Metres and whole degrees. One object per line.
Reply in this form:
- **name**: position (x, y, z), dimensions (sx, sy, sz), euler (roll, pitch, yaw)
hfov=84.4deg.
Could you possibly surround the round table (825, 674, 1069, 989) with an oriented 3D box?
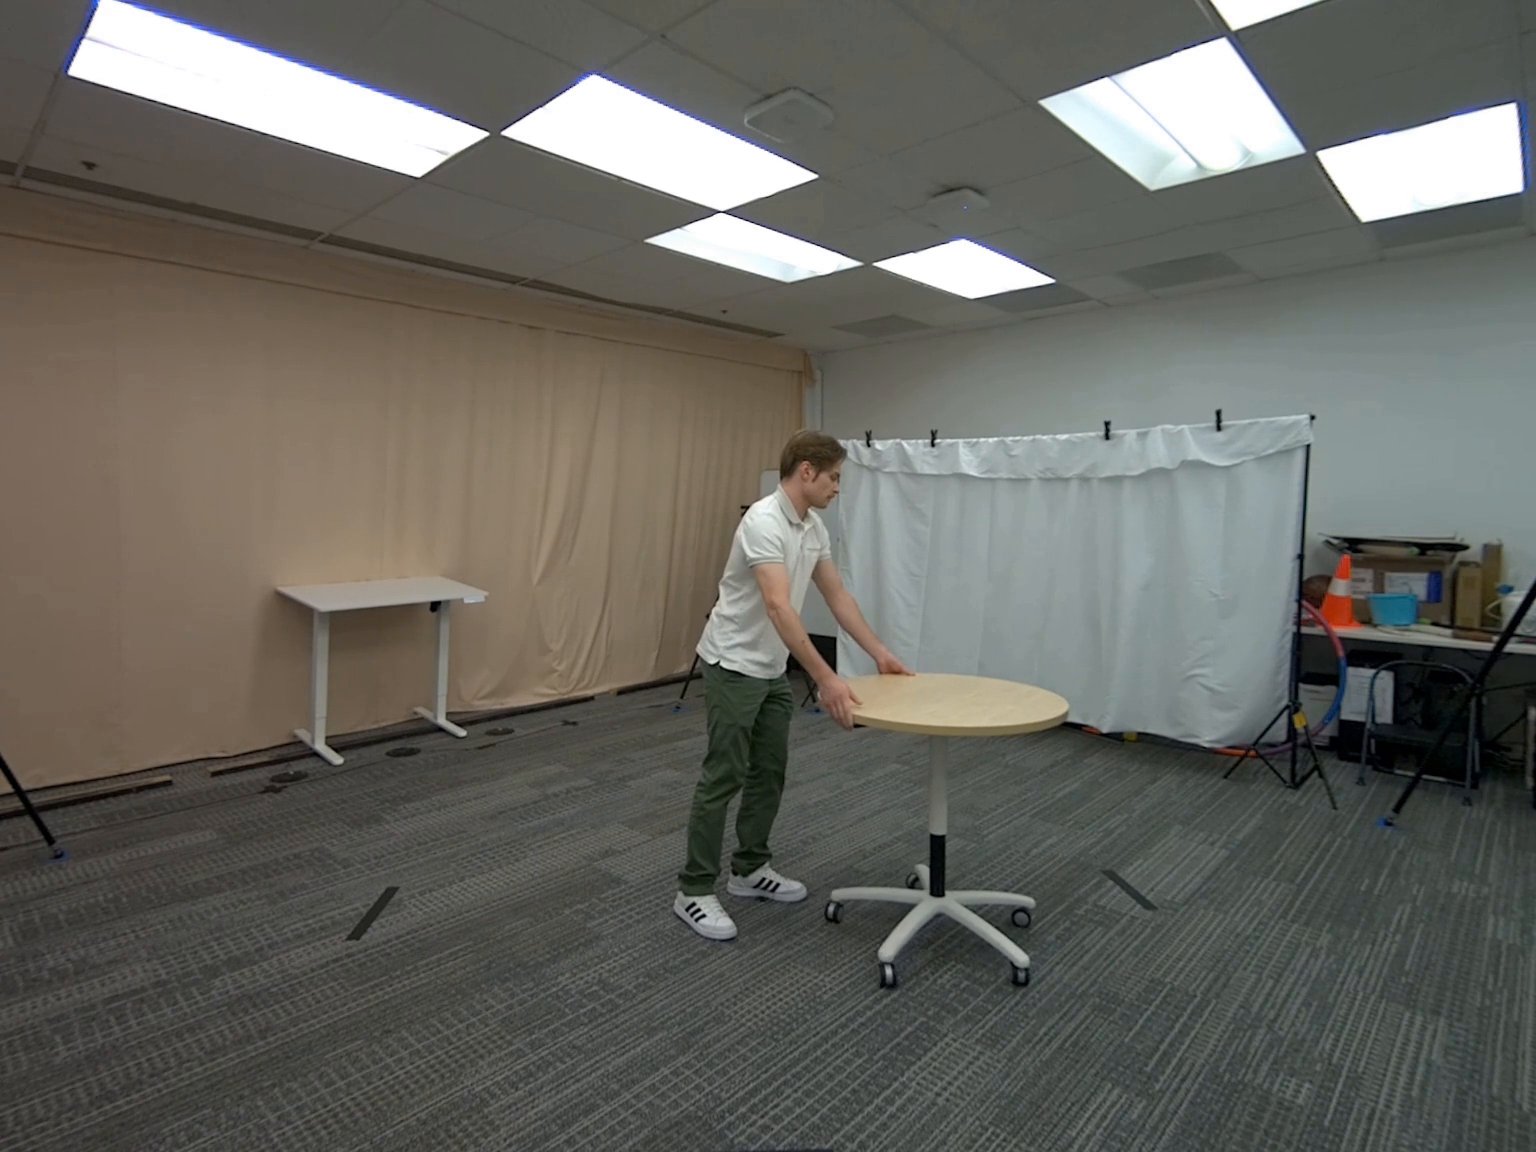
- **round table**: position (0.544, 0.779, 2.688), dimensions (0.763, 0.792, 0.766), euler (0, 4, -2)
